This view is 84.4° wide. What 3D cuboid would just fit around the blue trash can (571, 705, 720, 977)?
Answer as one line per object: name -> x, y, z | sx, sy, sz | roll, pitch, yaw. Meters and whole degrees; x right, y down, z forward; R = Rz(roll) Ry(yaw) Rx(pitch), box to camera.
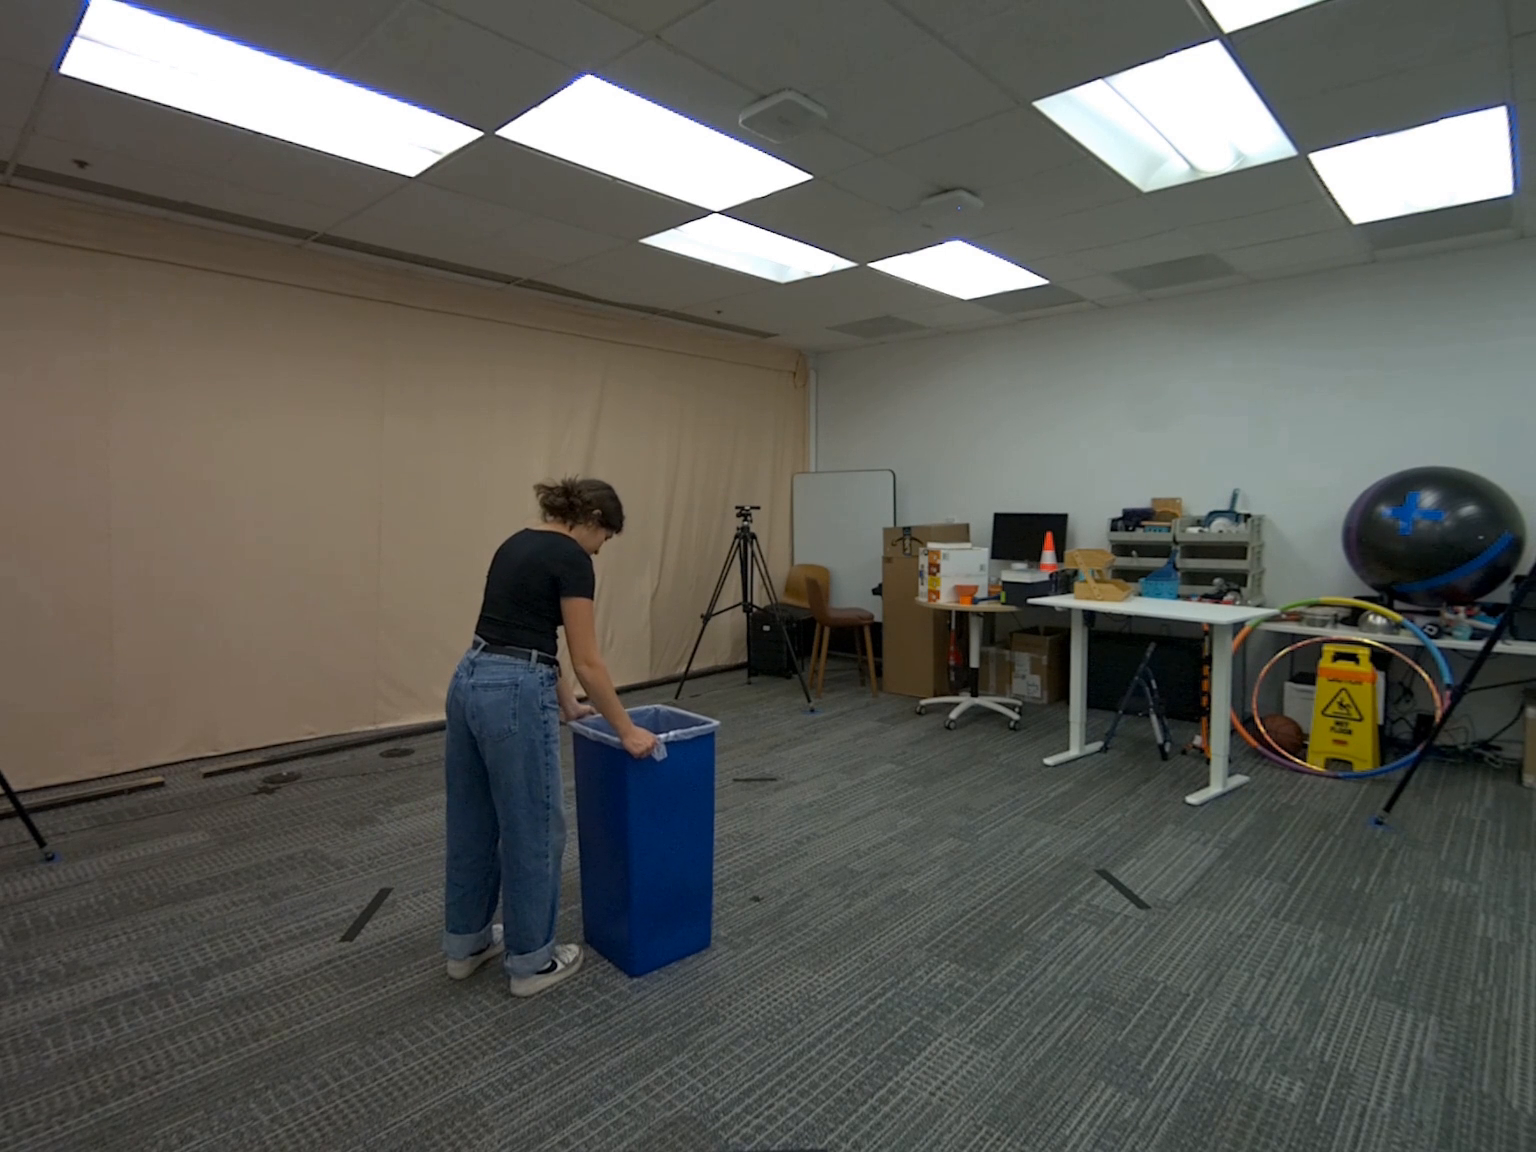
blue trash can -> -0.395, 0.816, 2.676 | 0.366, 0.712, 0.386 | -3, 4, -40
